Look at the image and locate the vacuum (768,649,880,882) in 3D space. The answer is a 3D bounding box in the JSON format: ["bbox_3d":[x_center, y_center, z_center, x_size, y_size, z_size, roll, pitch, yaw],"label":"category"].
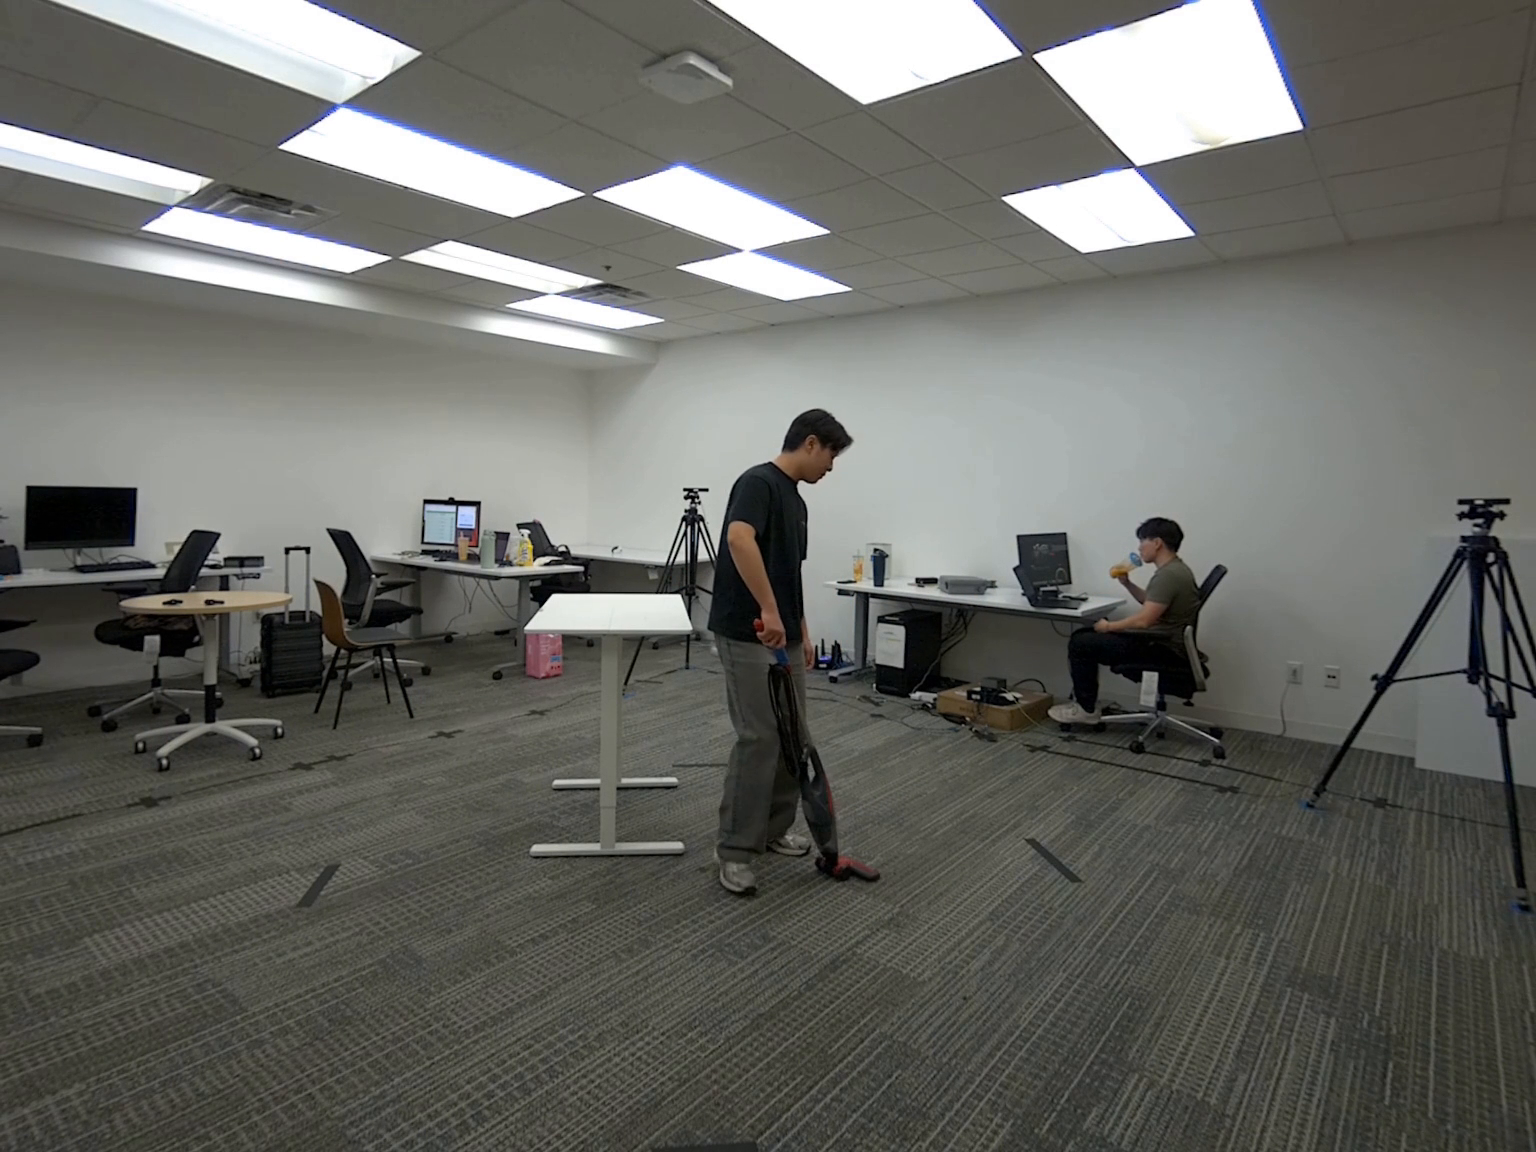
[{"bbox_3d":[0.118,0.622,2.947,0.142,1.024,0.261,-31,24,-31],"label":"vacuum"}]
